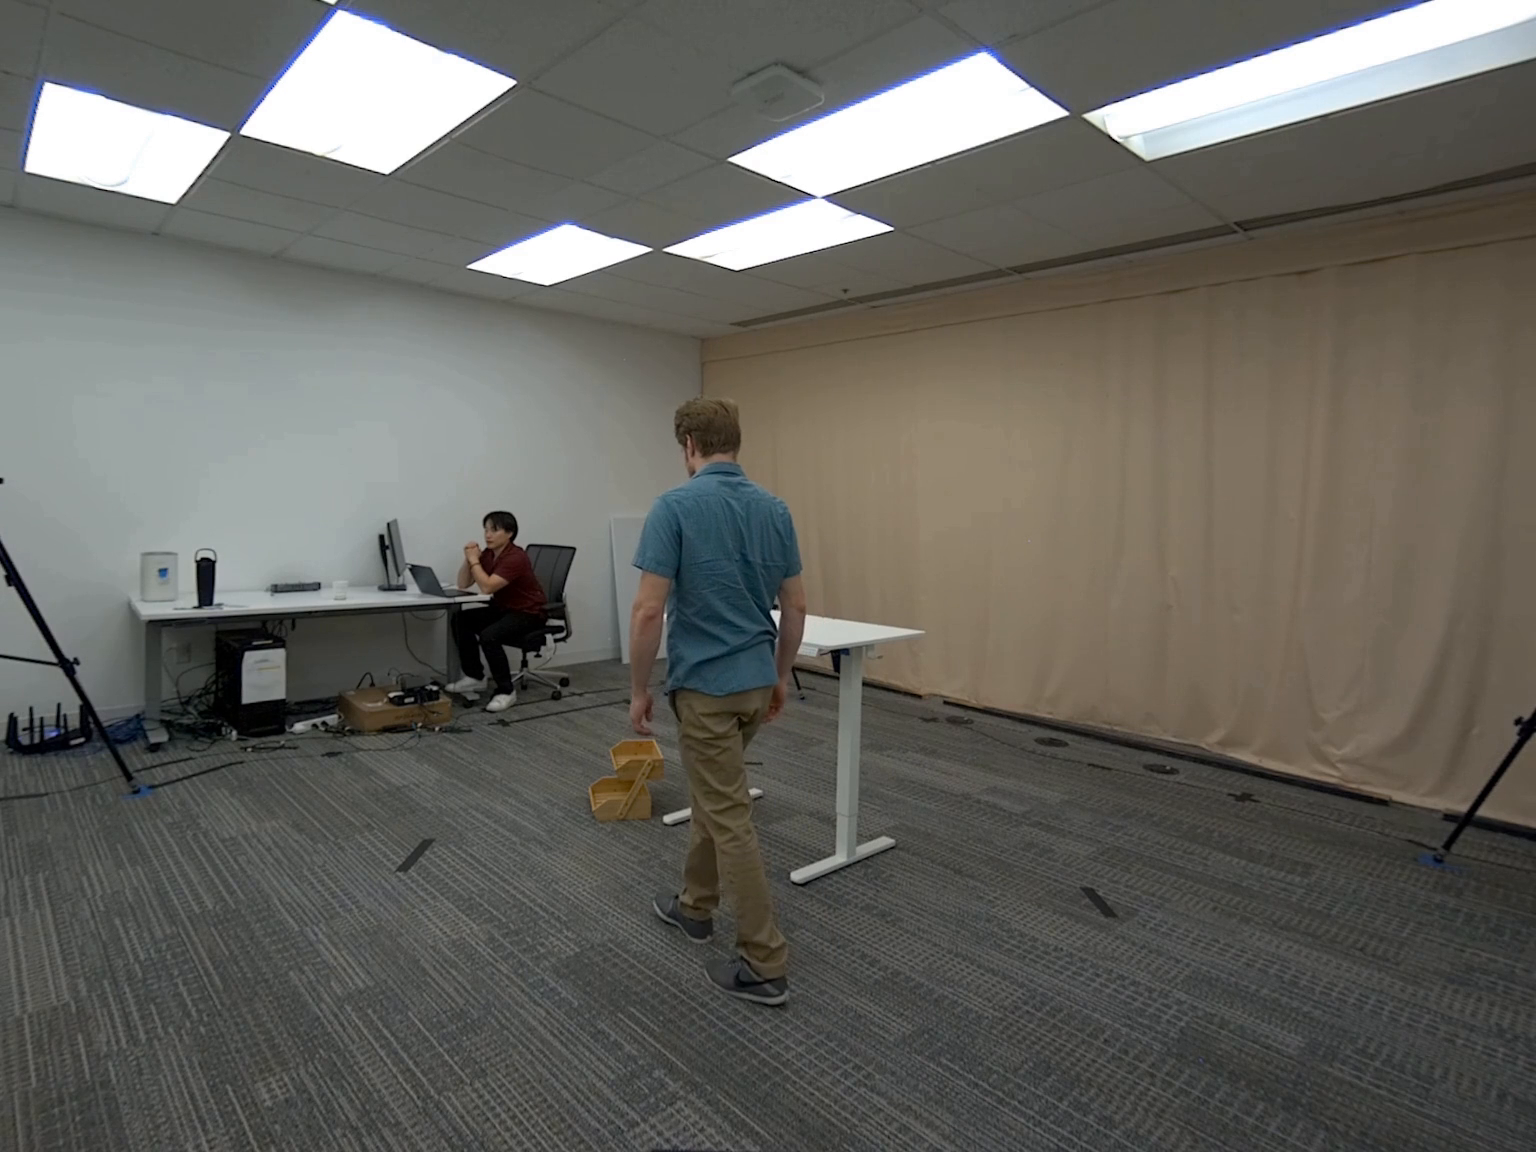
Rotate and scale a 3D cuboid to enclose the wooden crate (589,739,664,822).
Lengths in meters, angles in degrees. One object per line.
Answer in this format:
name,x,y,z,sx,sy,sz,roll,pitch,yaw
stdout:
wooden crate,-0.652,0.900,3.762,0.298,0.272,0.329,1,4,-16
